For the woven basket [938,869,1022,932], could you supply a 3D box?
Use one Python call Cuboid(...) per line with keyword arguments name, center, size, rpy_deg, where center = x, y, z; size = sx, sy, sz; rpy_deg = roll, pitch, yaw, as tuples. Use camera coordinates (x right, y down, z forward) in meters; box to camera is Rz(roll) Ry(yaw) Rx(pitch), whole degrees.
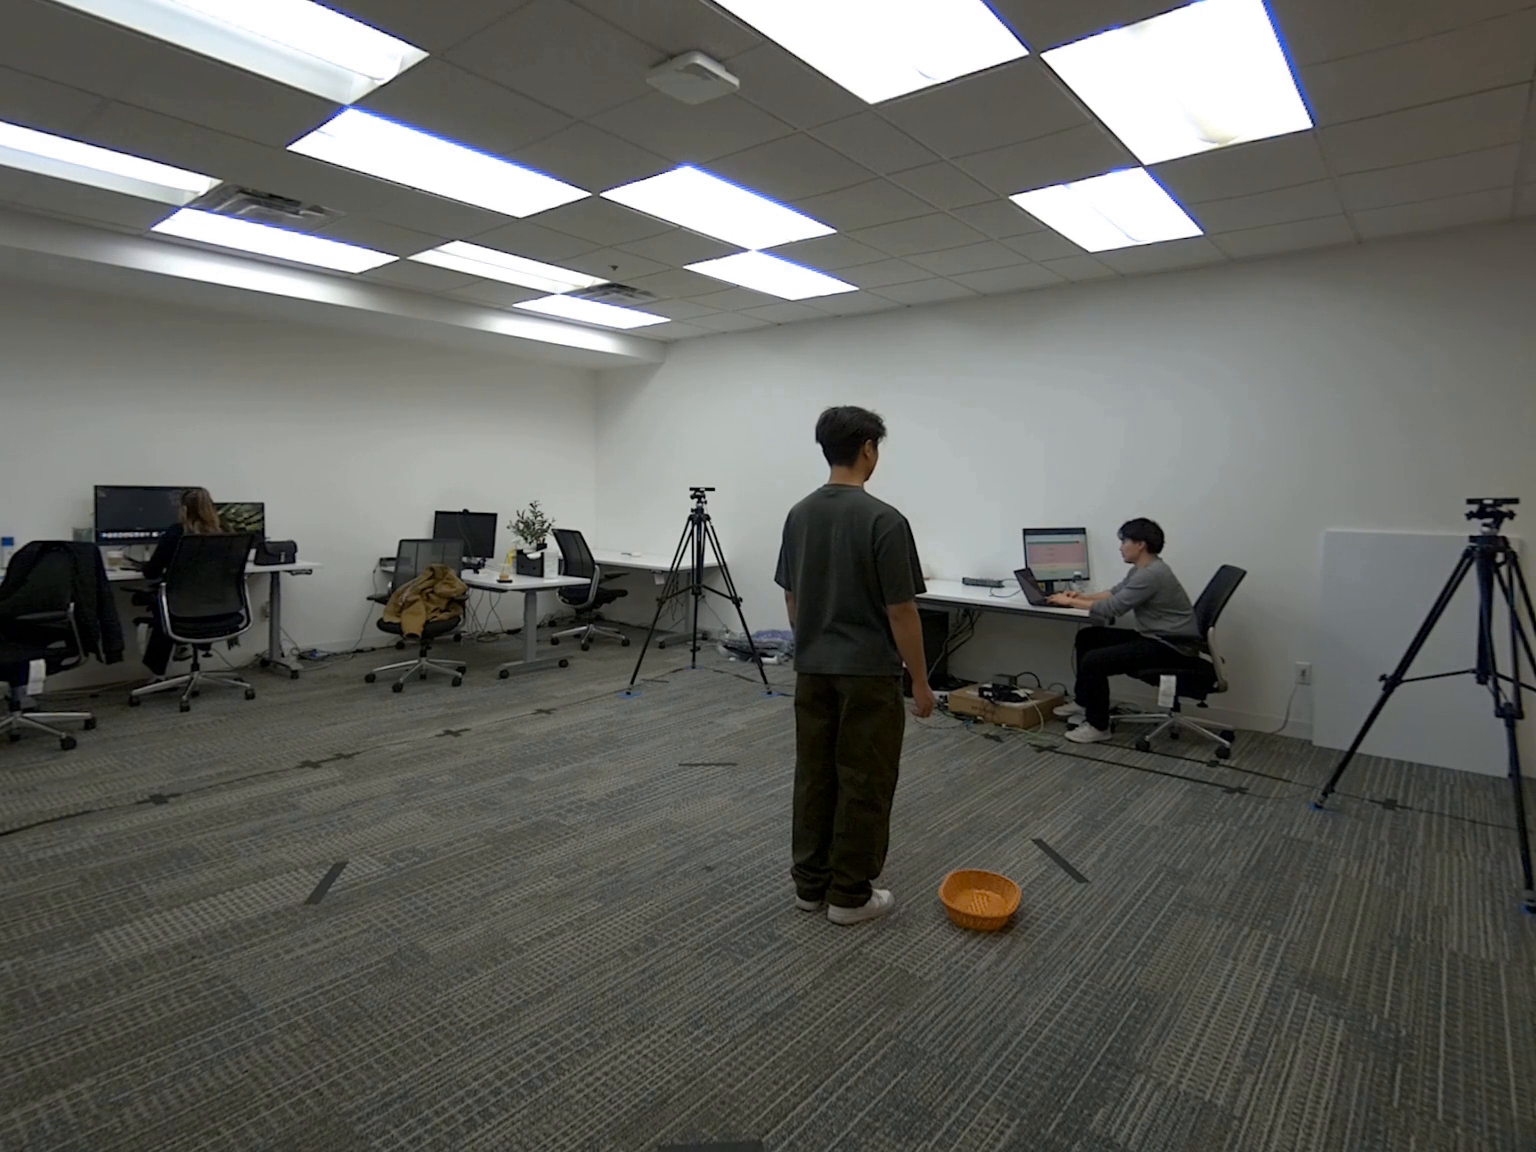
Cuboid(name="woven basket", center=(0.701, 1.084, 2.833), size=(0.260, 0.073, 0.342), rpy_deg=(5, 7, 28))
